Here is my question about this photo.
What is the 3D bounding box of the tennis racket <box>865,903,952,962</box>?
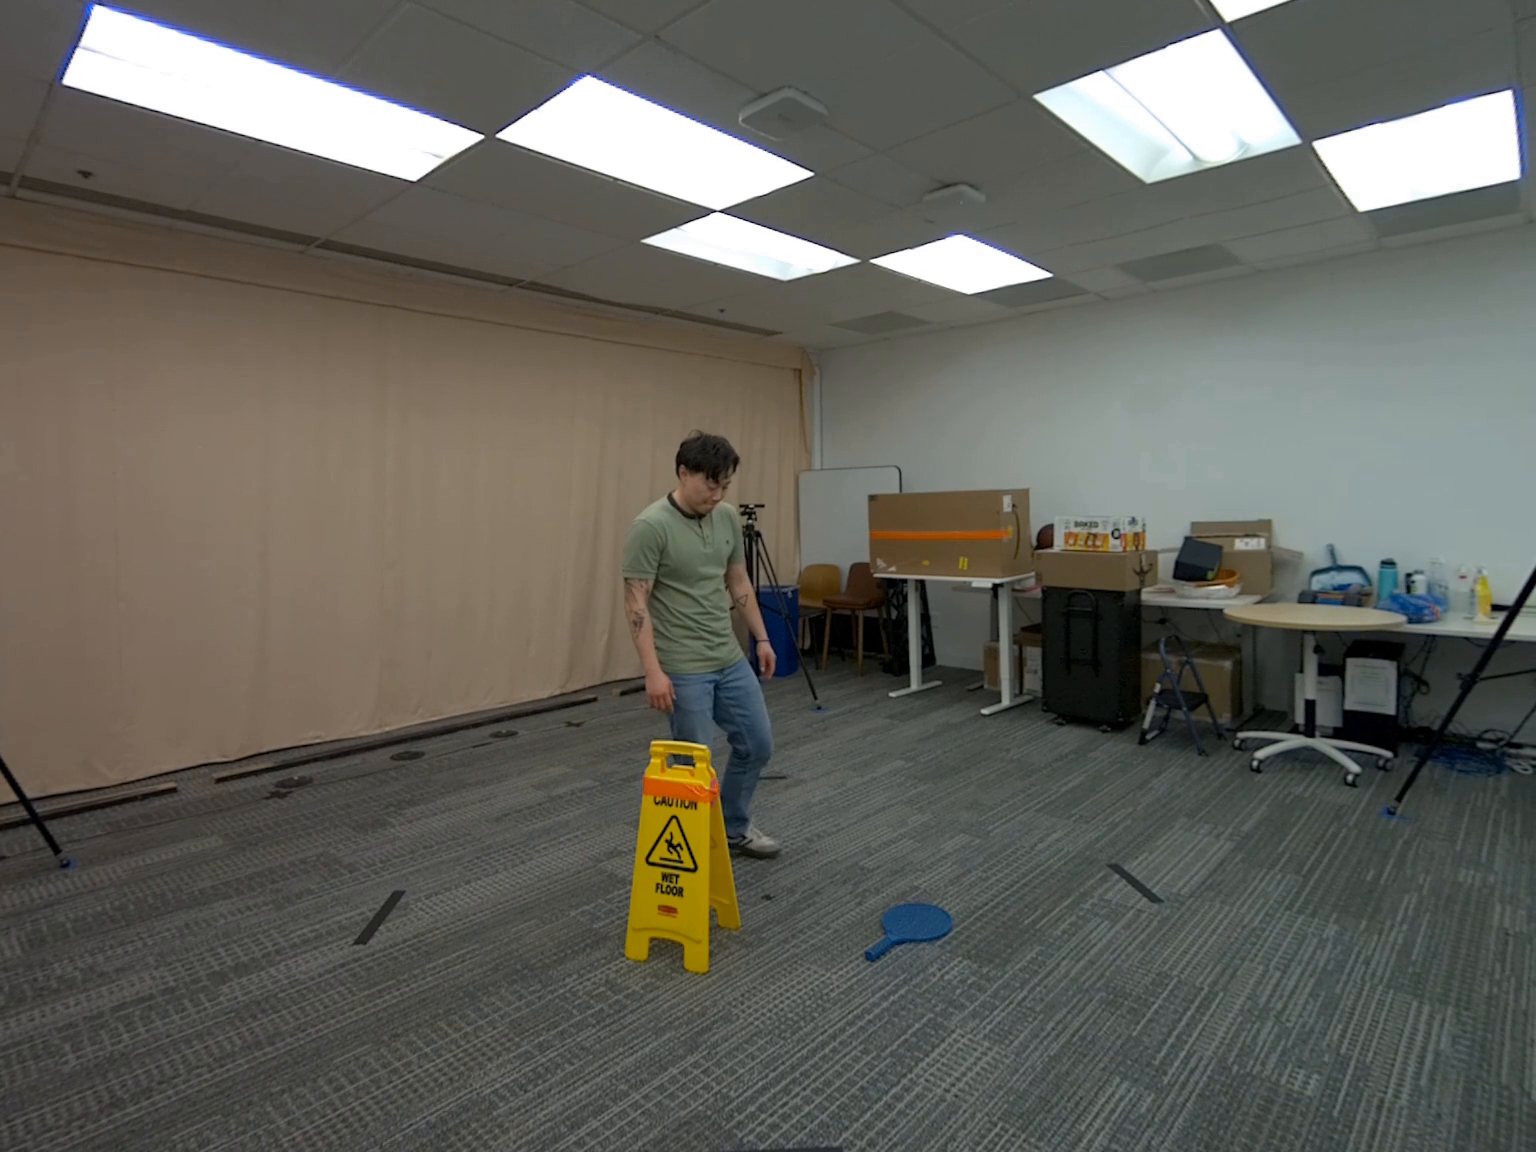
[{"bbox_3d":[0.444,1.143,2.715,0.221,0.032,0.420,3,6,40],"label":"tennis racket"}]
